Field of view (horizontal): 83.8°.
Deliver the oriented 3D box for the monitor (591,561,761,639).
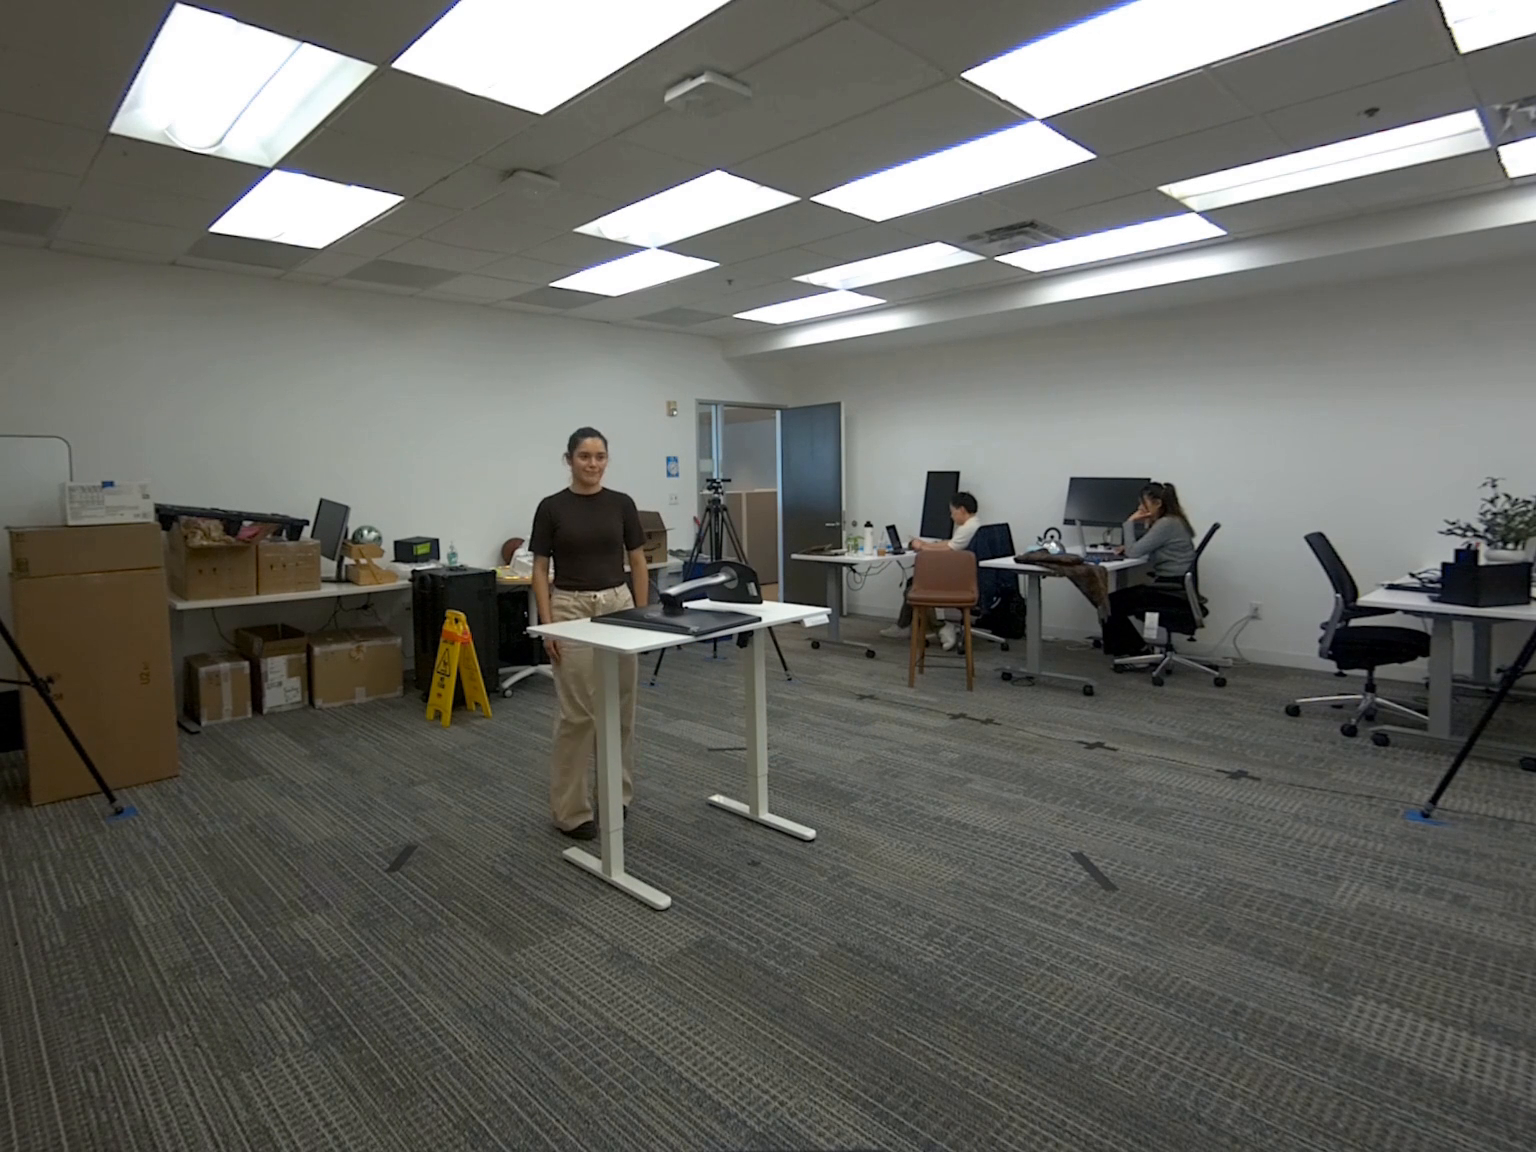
[{"bbox_3d":[-0.285,0.105,3.168,0.555,0.184,0.515,1,20,41],"label":"monitor"}]
